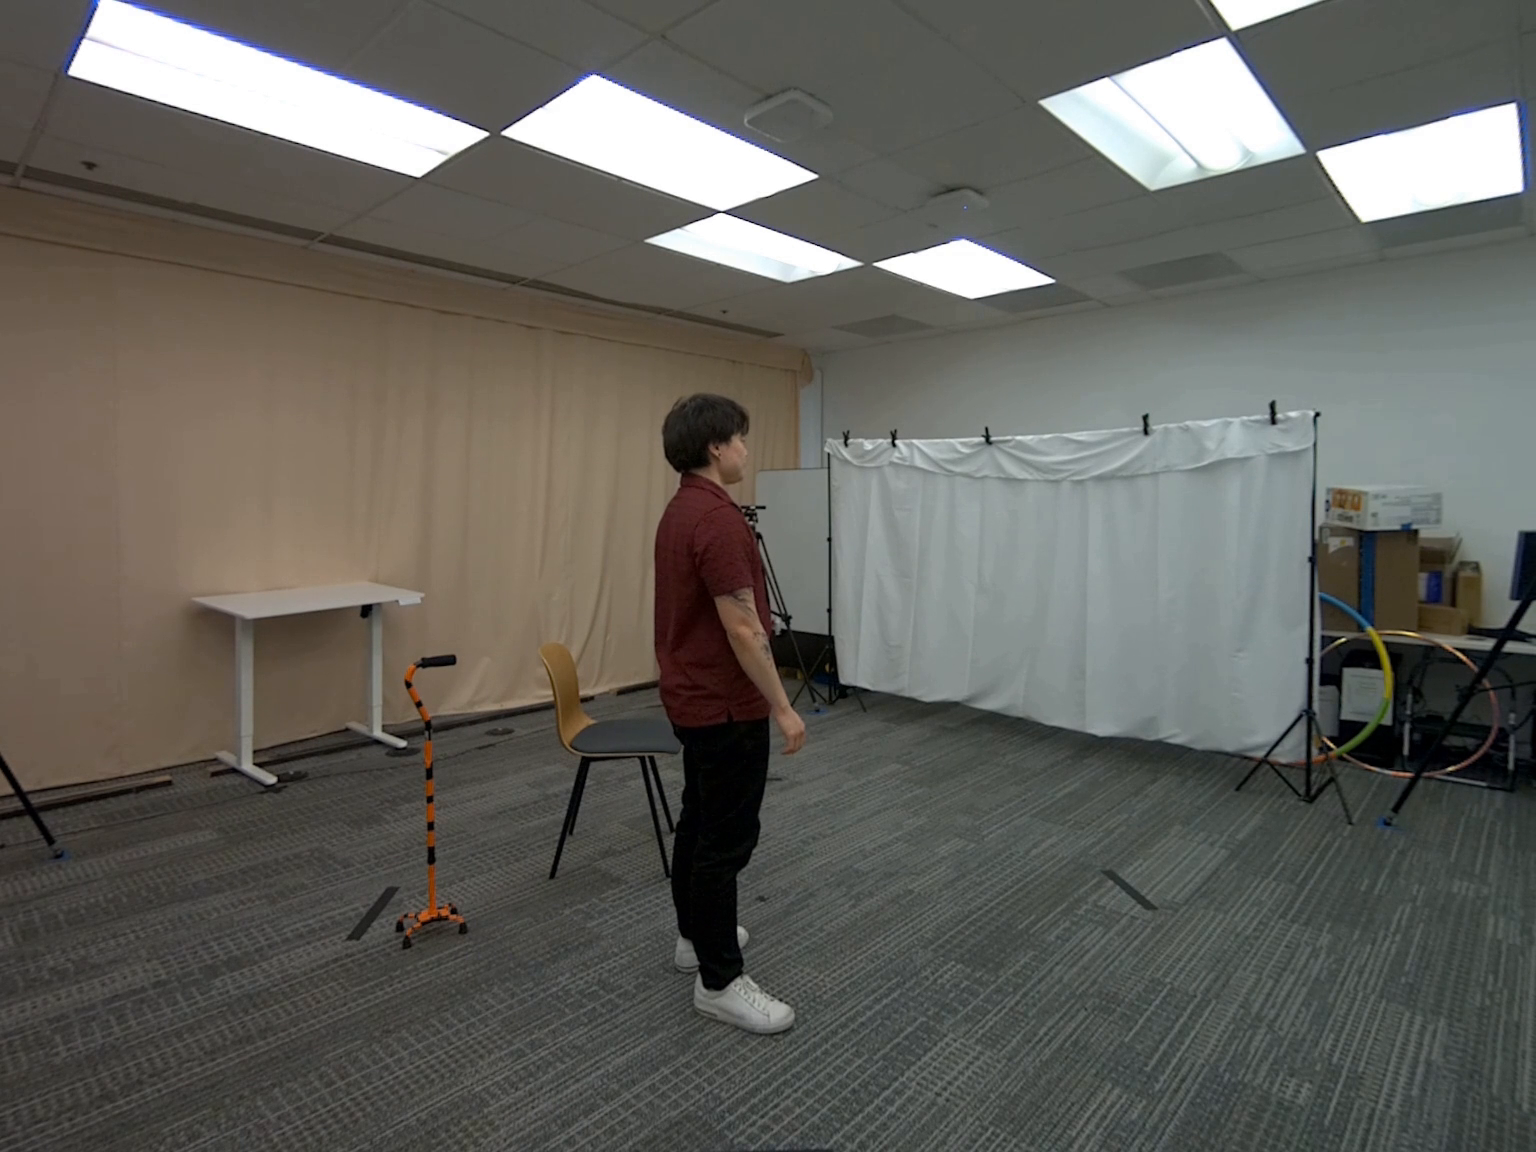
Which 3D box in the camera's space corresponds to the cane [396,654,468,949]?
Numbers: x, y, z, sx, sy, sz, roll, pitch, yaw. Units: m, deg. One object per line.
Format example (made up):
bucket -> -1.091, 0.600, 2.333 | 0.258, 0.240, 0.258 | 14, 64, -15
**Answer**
cane -> -1.110, 0.723, 2.744 | 0.200, 0.906, 0.156 | -1, 3, -33
